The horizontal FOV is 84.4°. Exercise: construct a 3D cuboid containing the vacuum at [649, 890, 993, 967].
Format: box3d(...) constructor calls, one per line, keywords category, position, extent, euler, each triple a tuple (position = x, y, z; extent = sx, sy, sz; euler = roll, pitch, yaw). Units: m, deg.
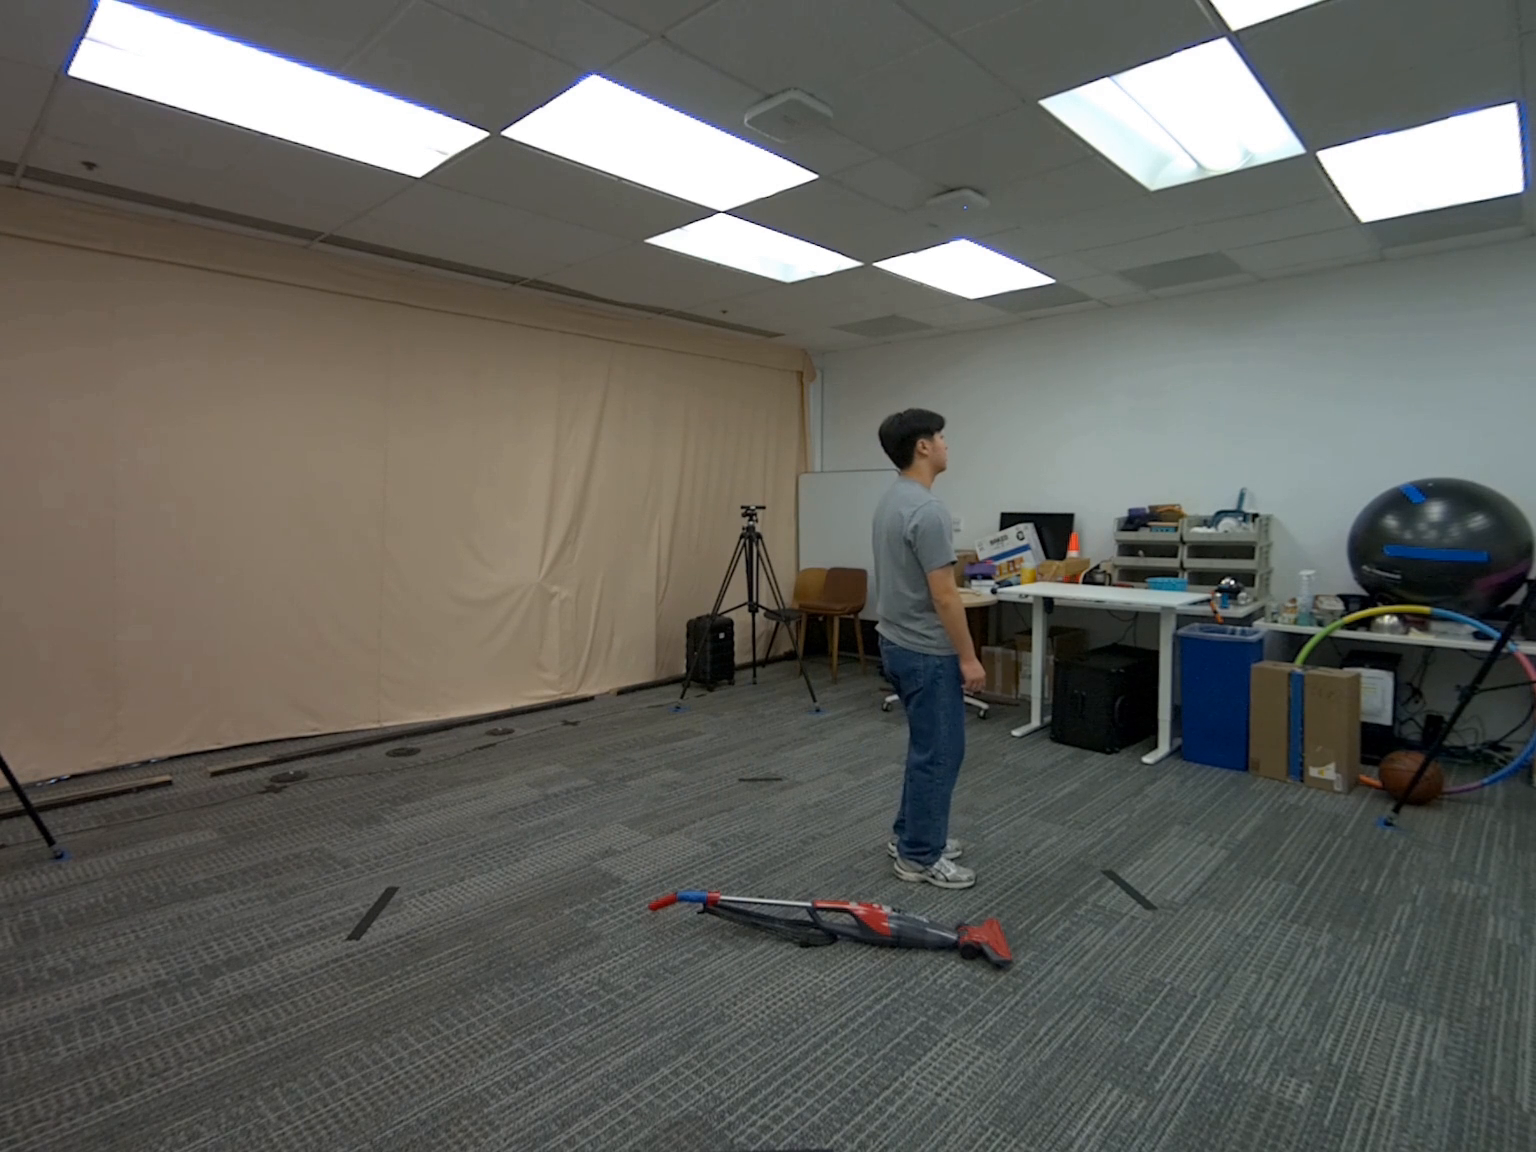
box3d(category="vacuum", position=(0.126, 1.105, 2.714), extent=(1.059, 0.143, 0.252), euler=(2, 10, 8))
